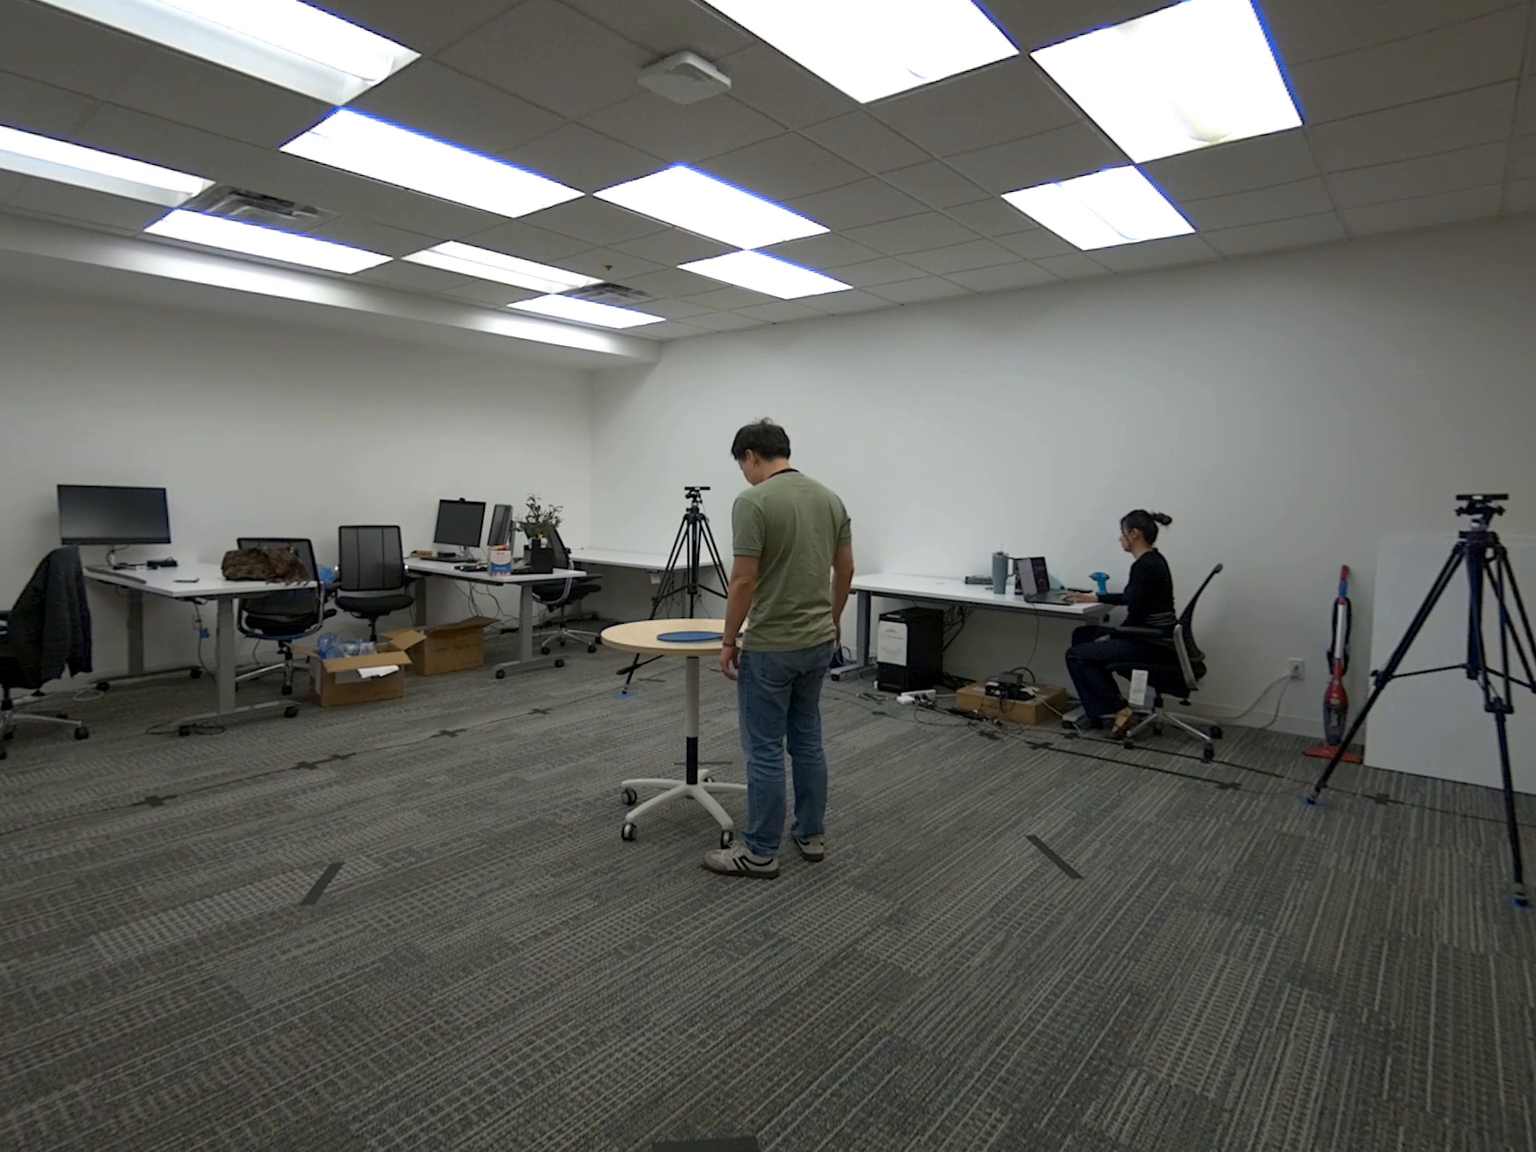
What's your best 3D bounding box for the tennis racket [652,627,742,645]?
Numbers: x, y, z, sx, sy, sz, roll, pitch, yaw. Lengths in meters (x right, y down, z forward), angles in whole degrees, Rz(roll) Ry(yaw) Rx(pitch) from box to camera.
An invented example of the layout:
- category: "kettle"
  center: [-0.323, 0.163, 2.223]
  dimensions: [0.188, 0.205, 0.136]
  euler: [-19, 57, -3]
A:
- category: "tennis racket"
  center: [-0.237, 0.239, 3.404]
  dimensions: [0.435, 0.031, 0.213]
  euler: [-1, 5, 5]
